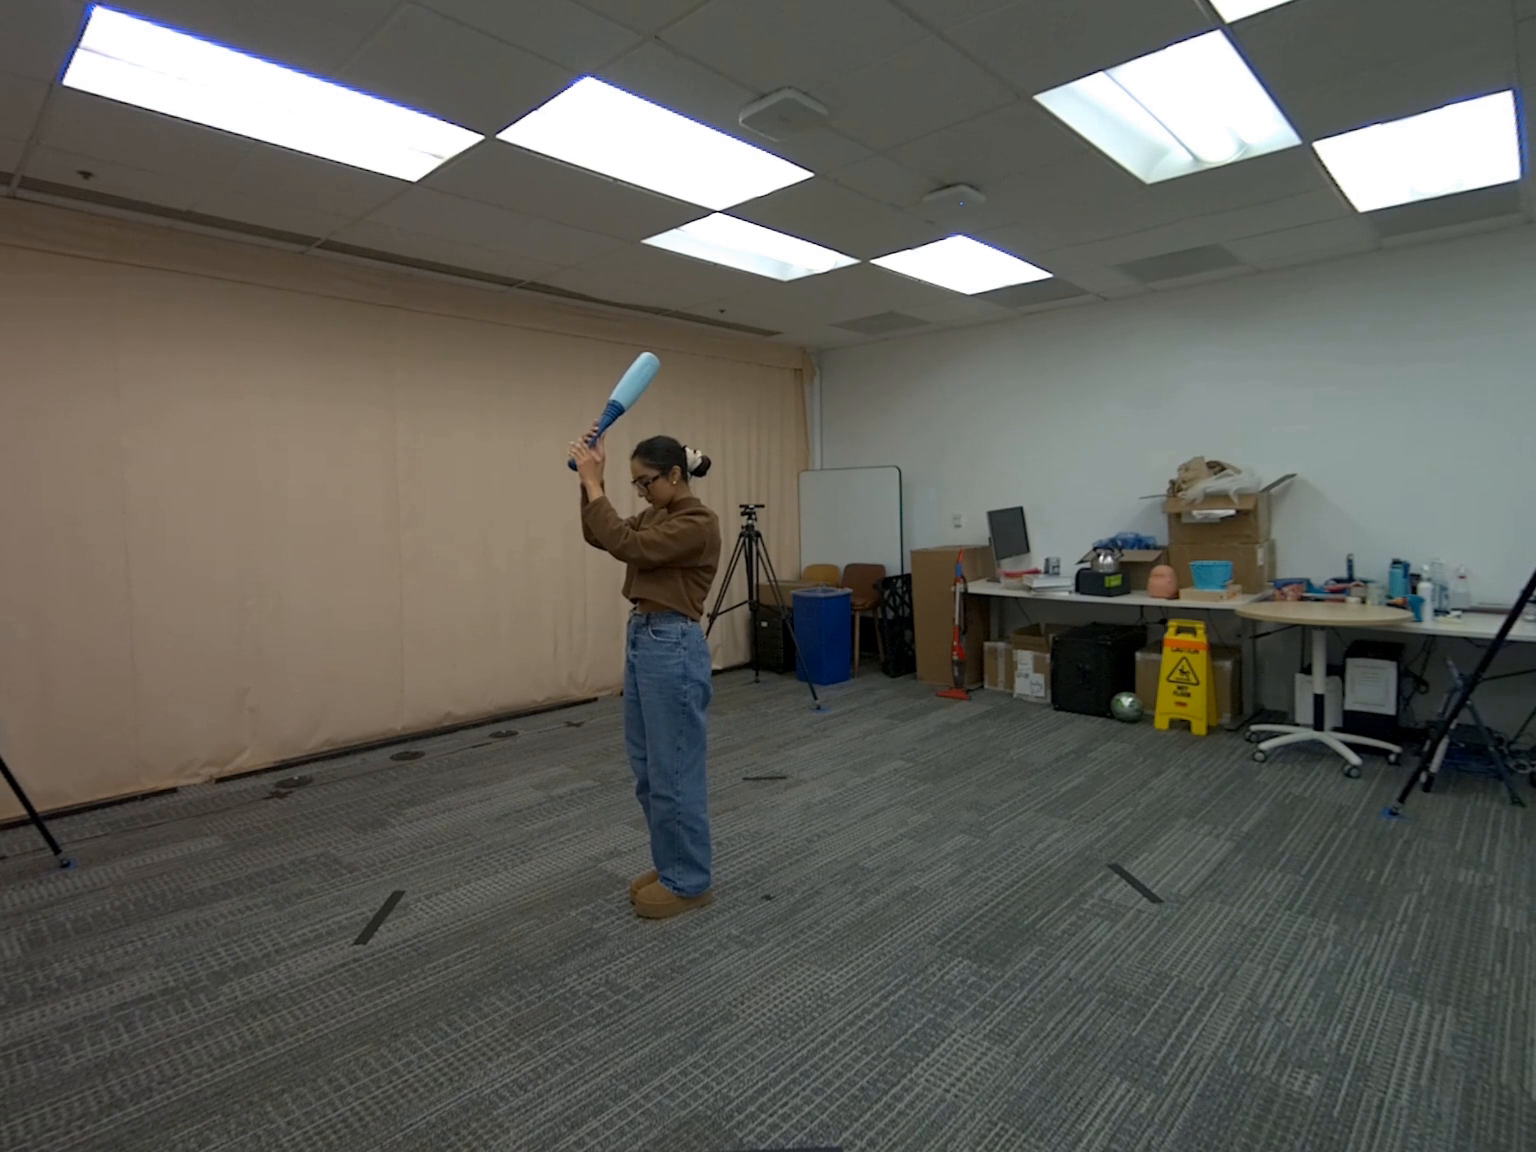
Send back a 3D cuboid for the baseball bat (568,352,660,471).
[{"bbox_3d":[-0.535,-0.571,2.906,0.090,0.543,0.088,22,-28,11],"label":"baseball bat"}]
